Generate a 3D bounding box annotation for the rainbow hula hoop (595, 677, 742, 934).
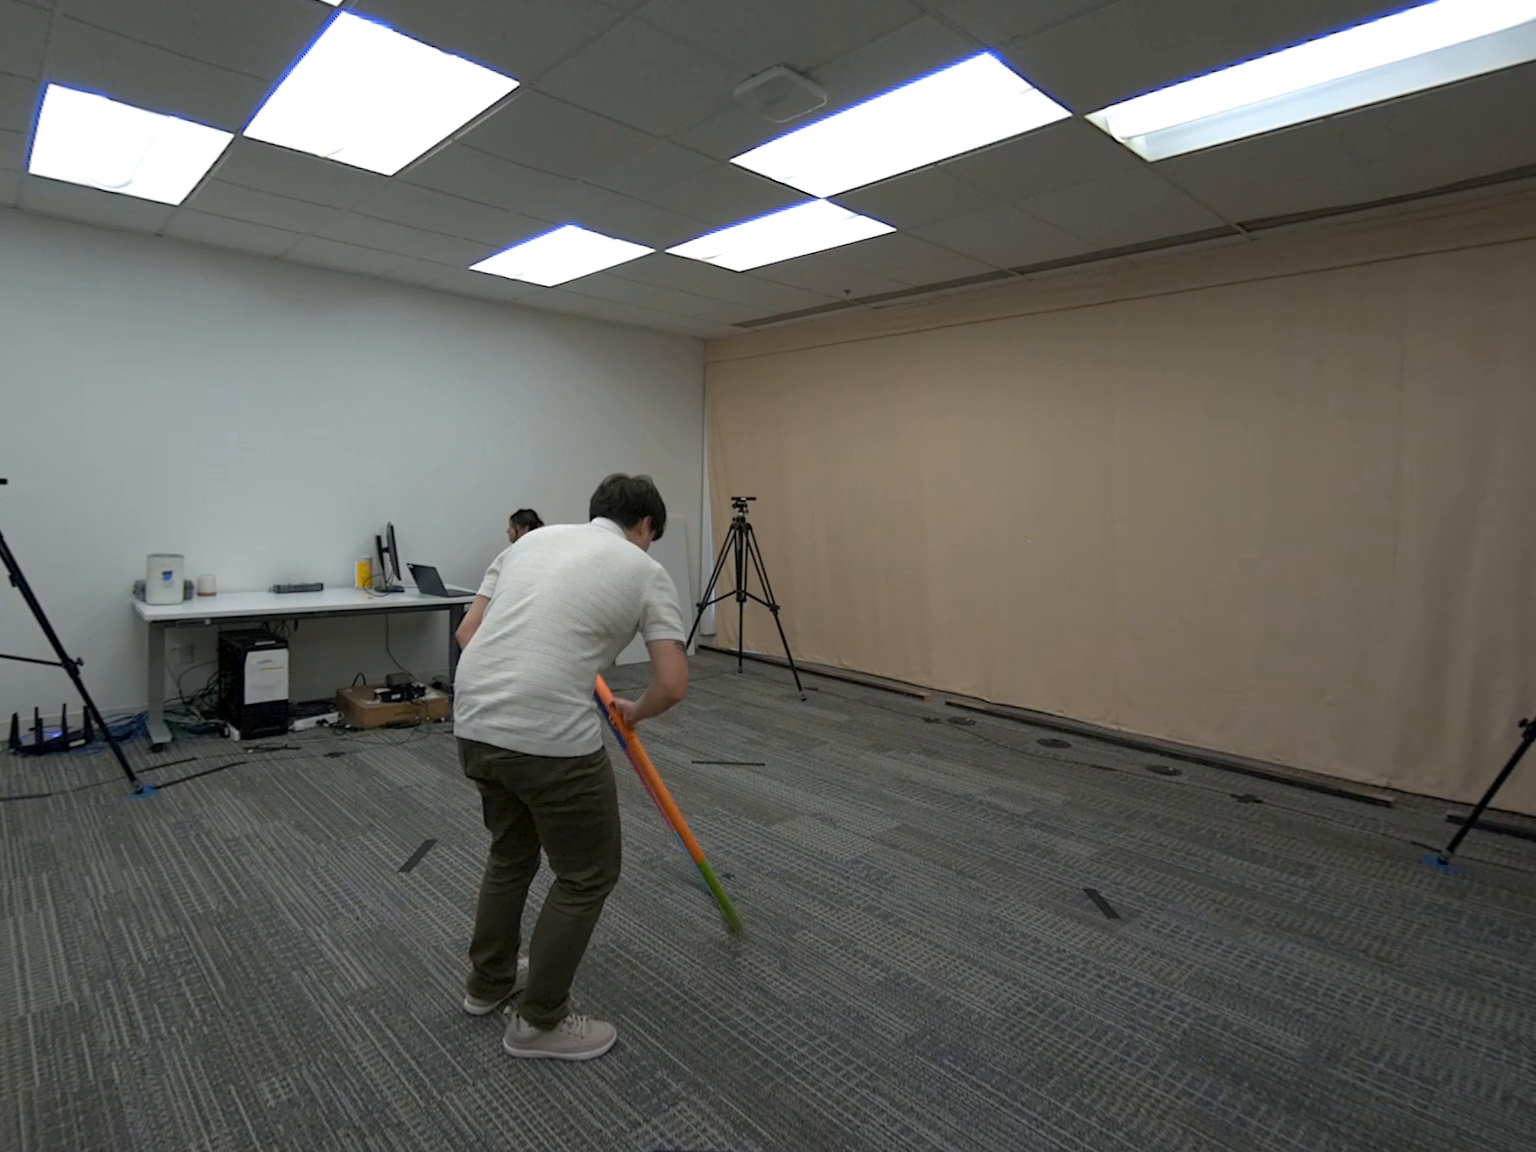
[{"bbox_3d":[-0.350,0.716,2.748,0.035,0.966,0.996,-31,14,-15],"label":"rainbow hula hoop"}]
